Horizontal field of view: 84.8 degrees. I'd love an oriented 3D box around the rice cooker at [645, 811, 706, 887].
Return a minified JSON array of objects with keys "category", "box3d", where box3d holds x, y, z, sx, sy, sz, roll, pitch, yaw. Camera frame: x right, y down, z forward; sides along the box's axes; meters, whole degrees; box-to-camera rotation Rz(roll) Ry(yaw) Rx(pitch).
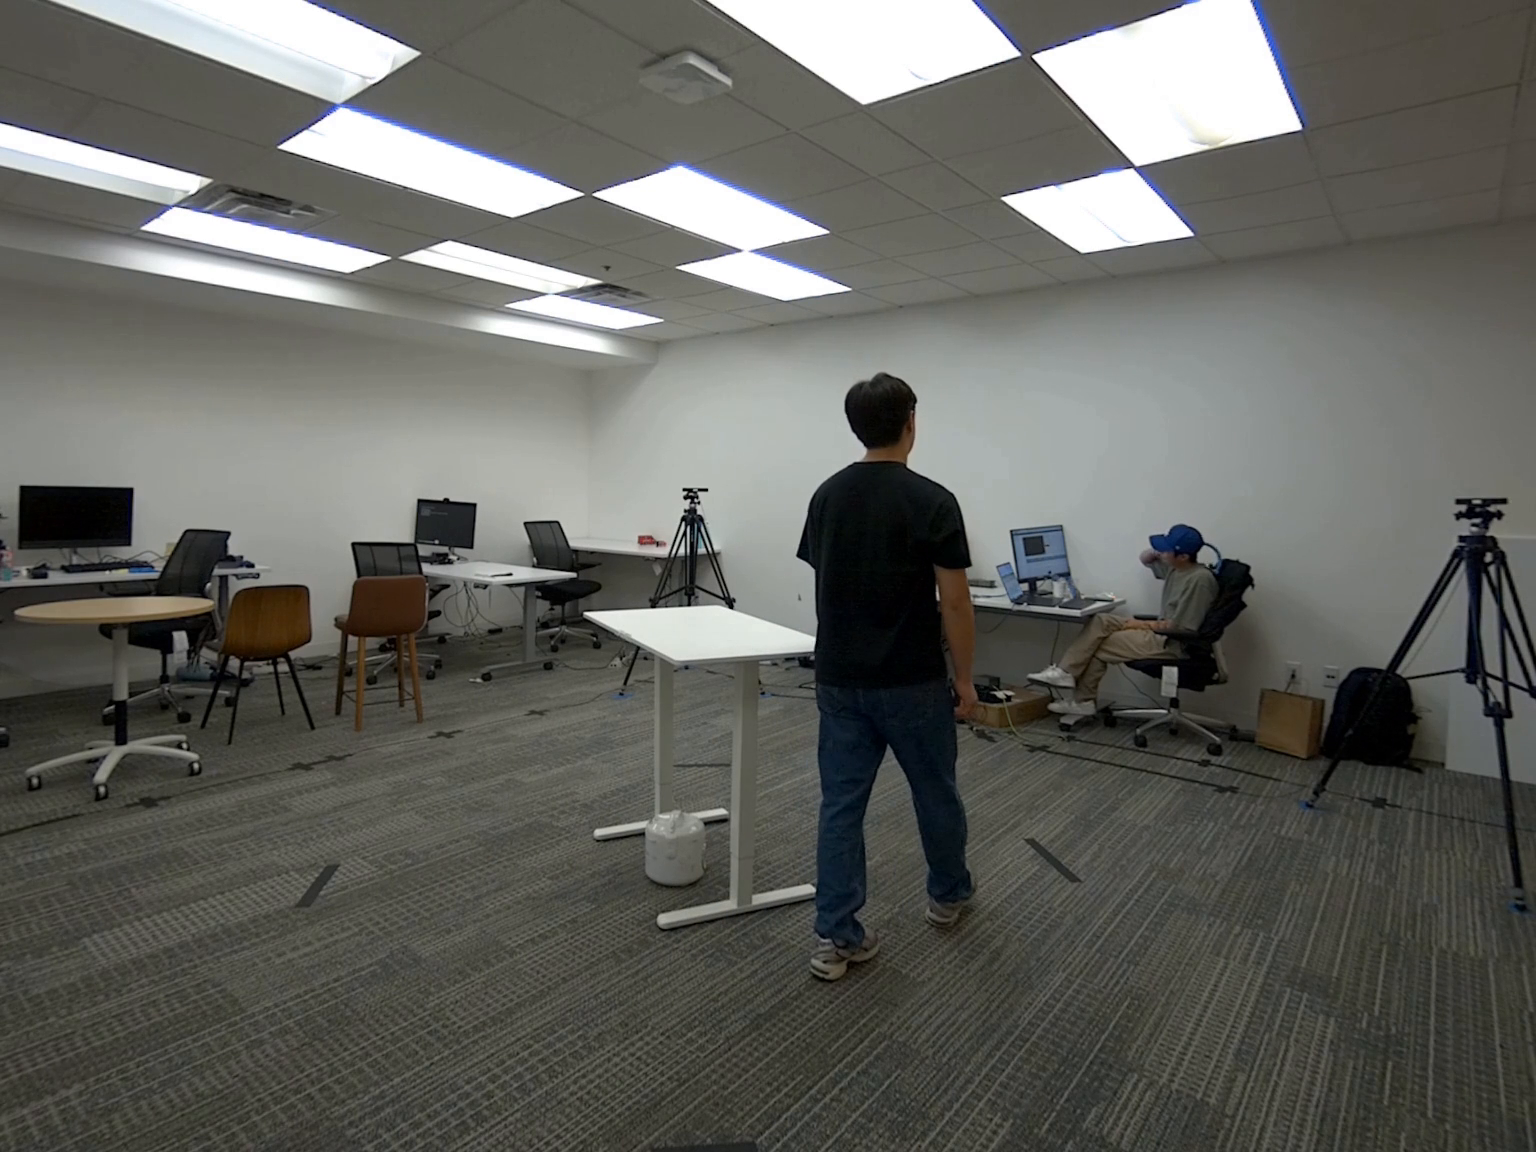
[{"category":"rice cooker","box3d":[-0.342,0.957,3.042,0.219,0.232,0.220,1,4,5]}]
